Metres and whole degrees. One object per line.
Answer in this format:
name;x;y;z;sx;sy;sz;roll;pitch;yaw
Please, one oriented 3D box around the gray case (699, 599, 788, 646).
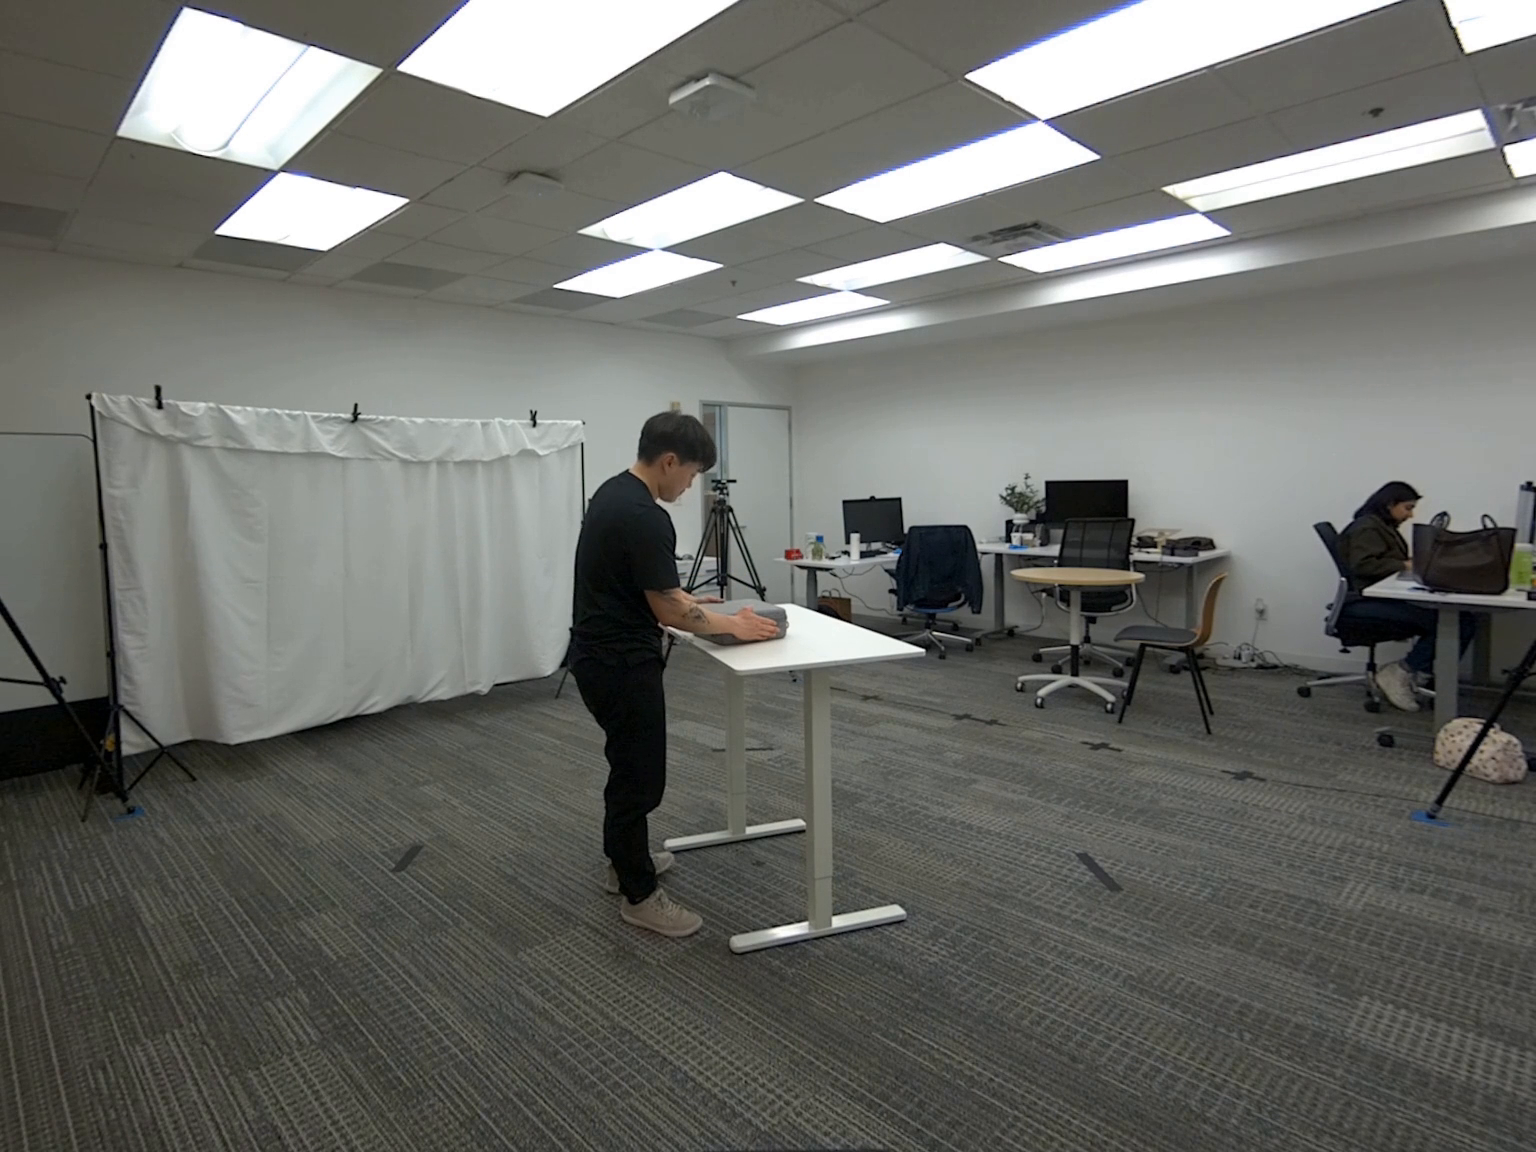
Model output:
gray case;-0.086;0.149;2.825;0.251;0.104;0.267;-3;6;-27
